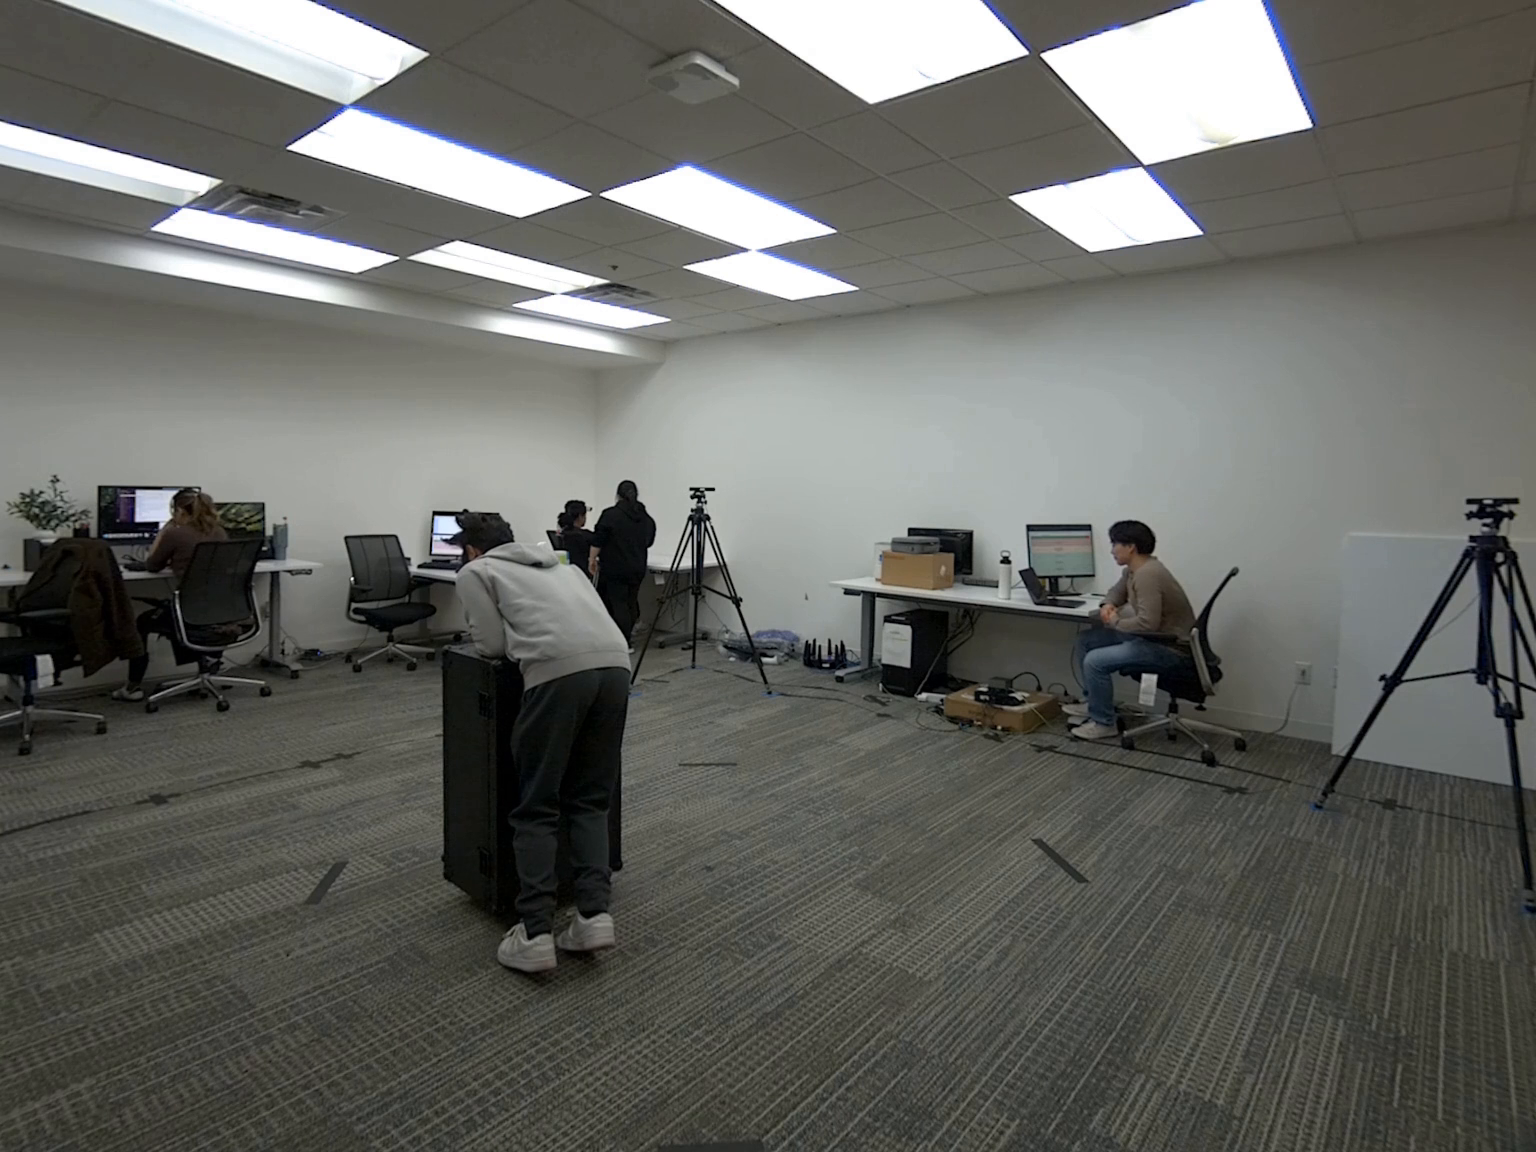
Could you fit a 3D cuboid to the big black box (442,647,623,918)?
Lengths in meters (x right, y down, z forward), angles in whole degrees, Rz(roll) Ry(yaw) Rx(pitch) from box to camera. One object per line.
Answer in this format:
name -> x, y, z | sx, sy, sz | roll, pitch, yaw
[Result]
big black box -> -0.815, 0.662, 2.875 | 0.505, 0.860, 0.409 | -2, 3, -45
